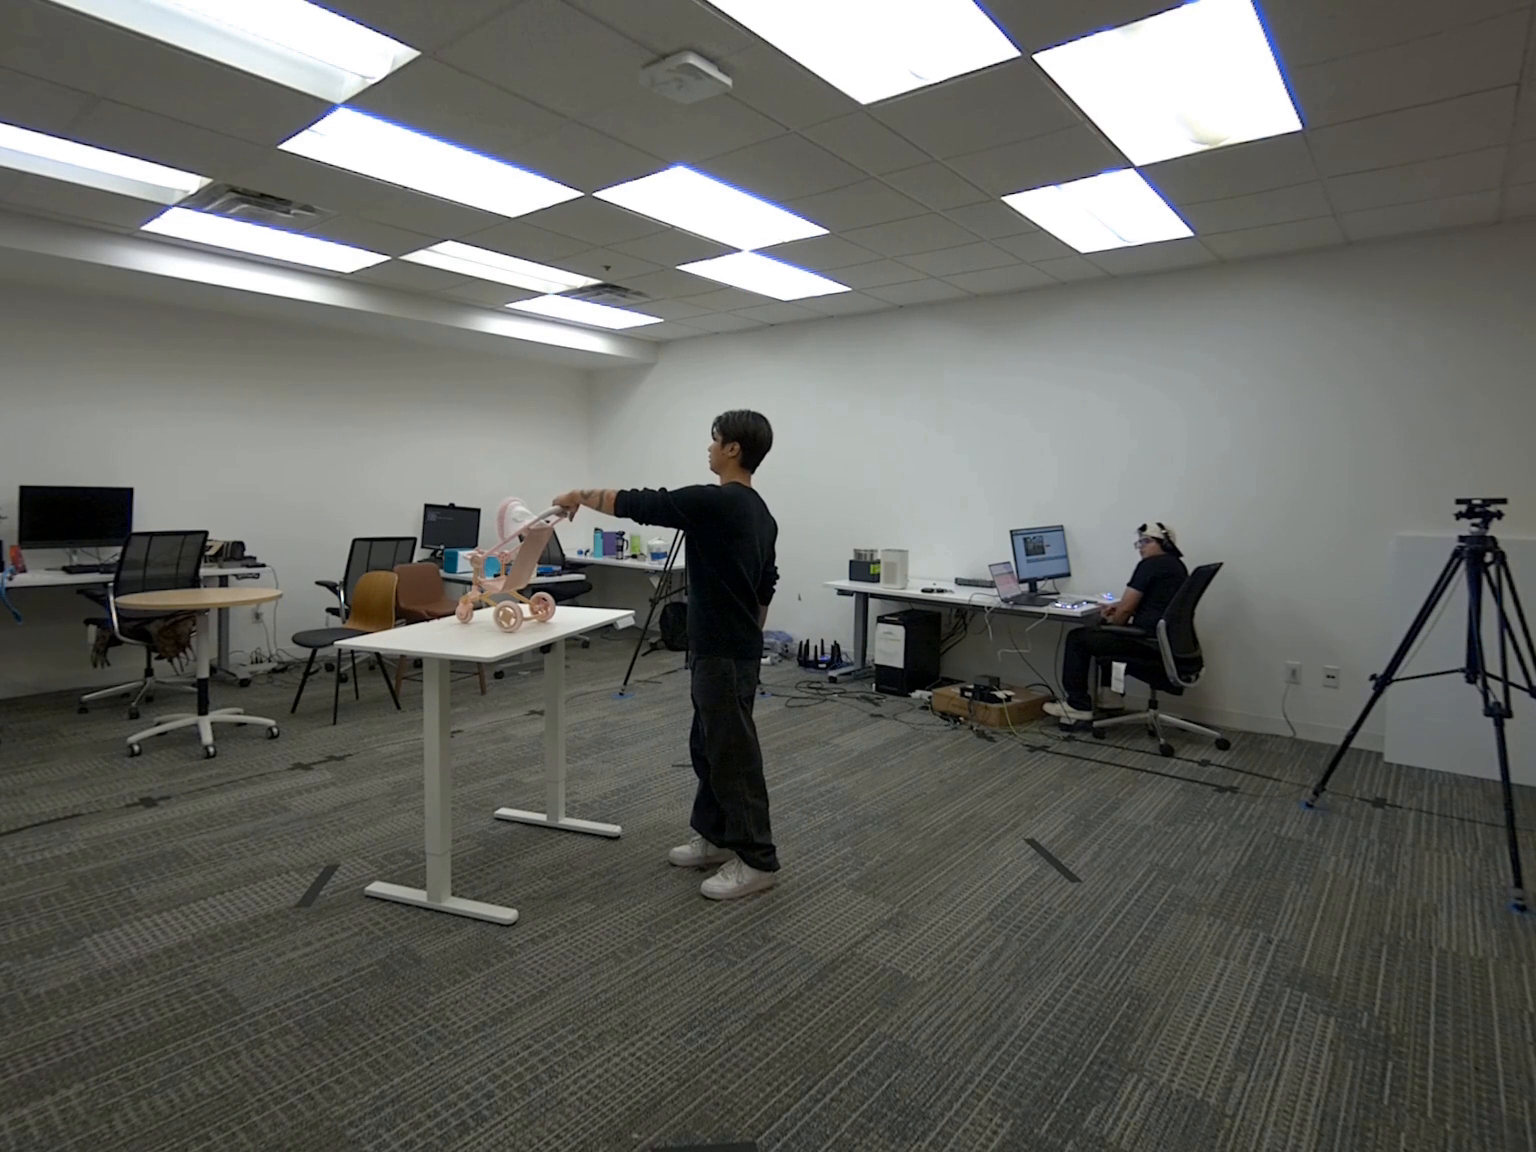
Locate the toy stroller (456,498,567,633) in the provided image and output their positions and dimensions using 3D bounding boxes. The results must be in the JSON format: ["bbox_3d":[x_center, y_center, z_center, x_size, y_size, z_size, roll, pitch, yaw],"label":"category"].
[{"bbox_3d":[-0.949,-0.044,3.073,0.349,0.532,0.276,17,8,18],"label":"toy stroller"}]
